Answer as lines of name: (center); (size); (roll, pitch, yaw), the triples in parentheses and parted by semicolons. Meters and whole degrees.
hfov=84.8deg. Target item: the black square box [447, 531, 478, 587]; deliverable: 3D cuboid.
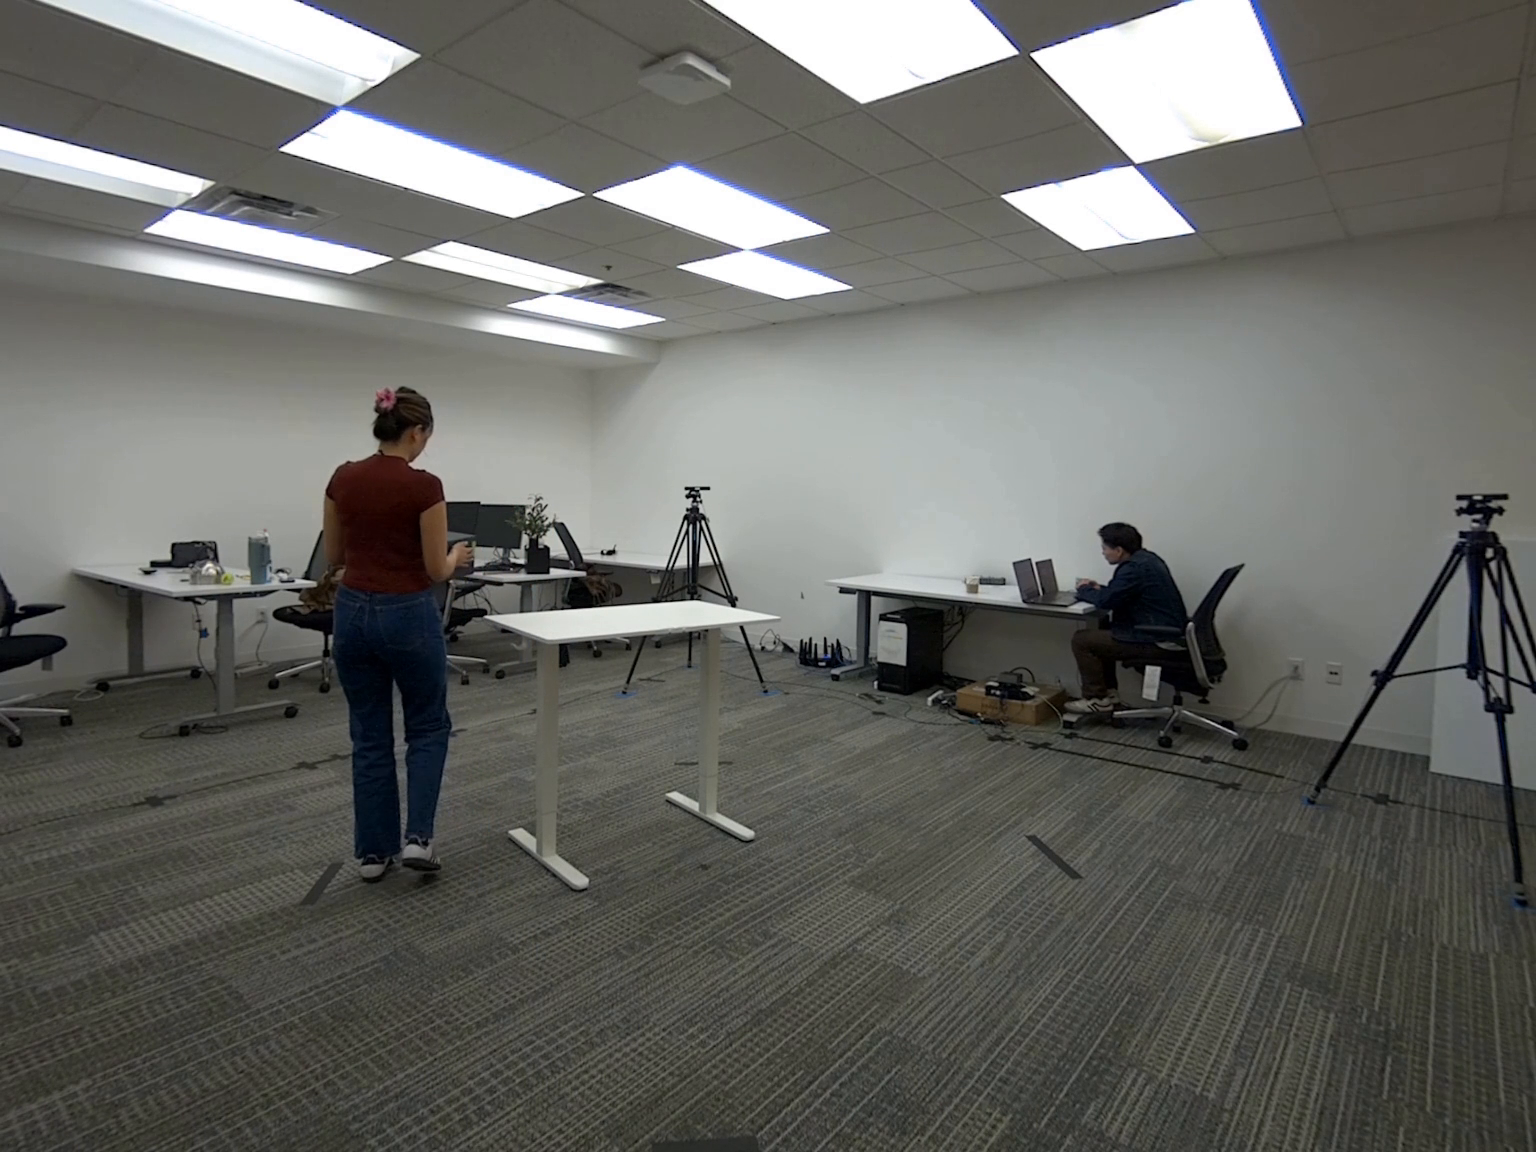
black square box: (-1.305, -0.085, 3.305); (0.232, 0.155, 0.215); (7, 9, 15)
